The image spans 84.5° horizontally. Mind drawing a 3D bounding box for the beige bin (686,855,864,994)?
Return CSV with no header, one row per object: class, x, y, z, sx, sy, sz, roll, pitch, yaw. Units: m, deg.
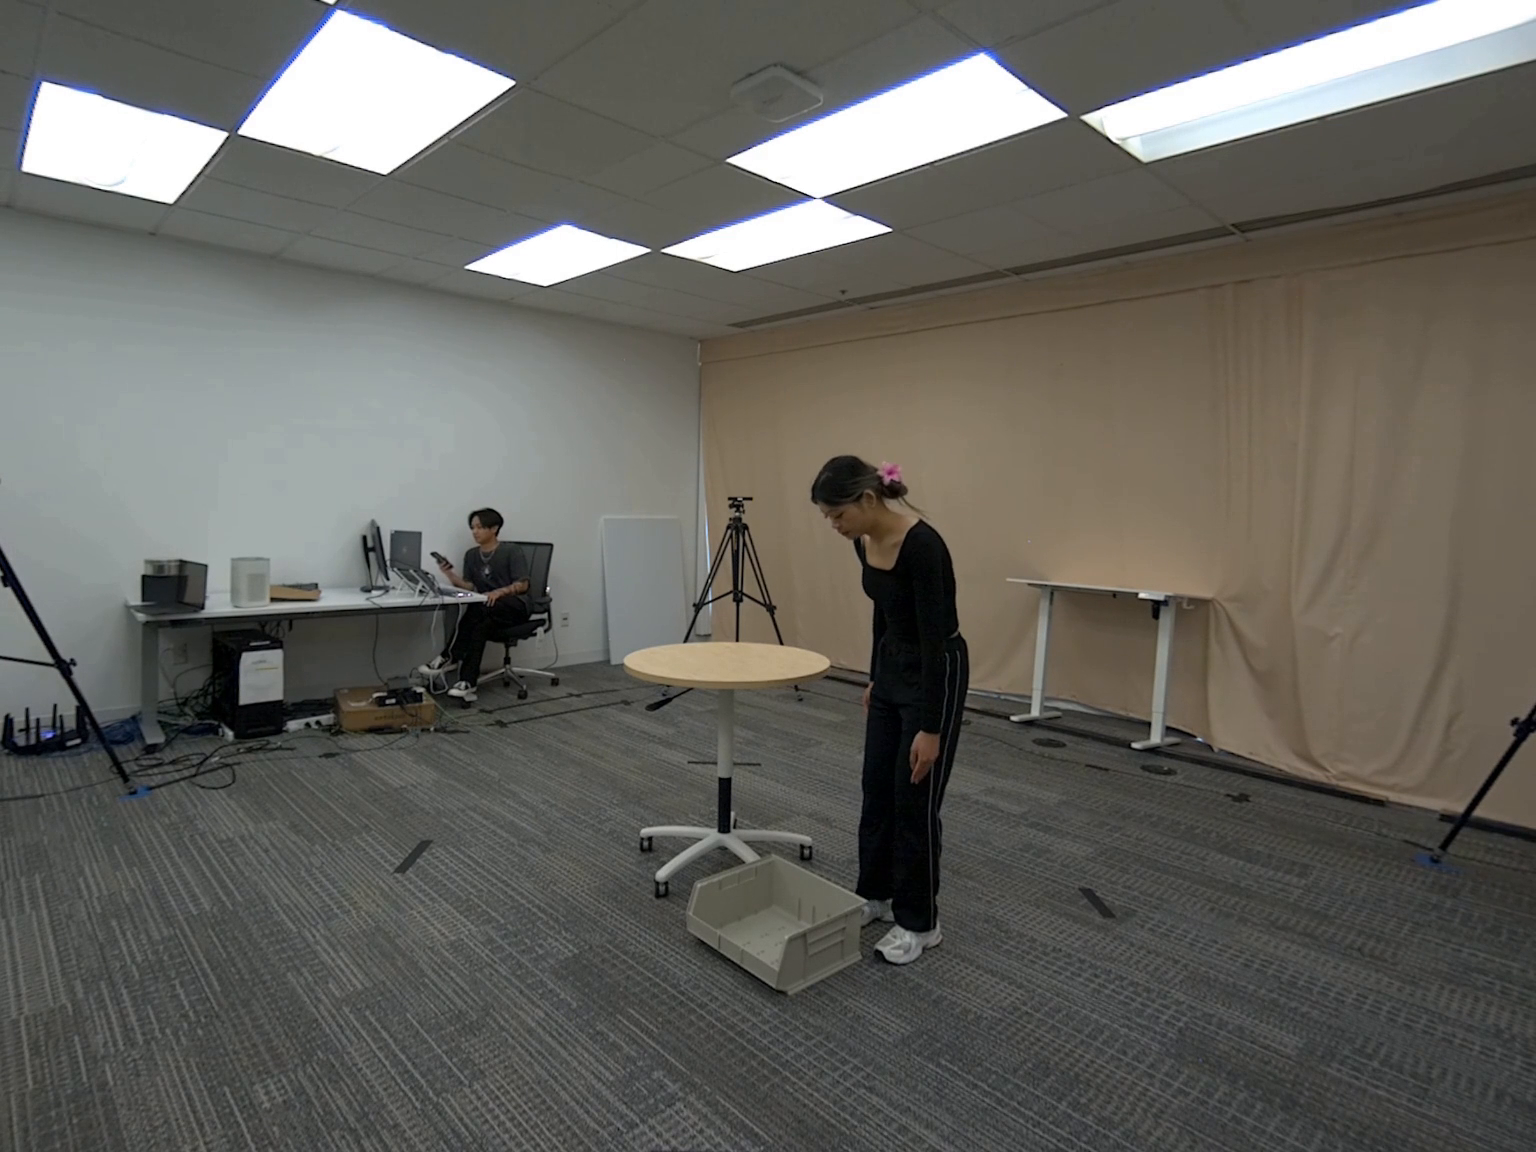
beige bin,0.019,1.071,2.600,0.369,0.188,0.433,-2,6,-42
